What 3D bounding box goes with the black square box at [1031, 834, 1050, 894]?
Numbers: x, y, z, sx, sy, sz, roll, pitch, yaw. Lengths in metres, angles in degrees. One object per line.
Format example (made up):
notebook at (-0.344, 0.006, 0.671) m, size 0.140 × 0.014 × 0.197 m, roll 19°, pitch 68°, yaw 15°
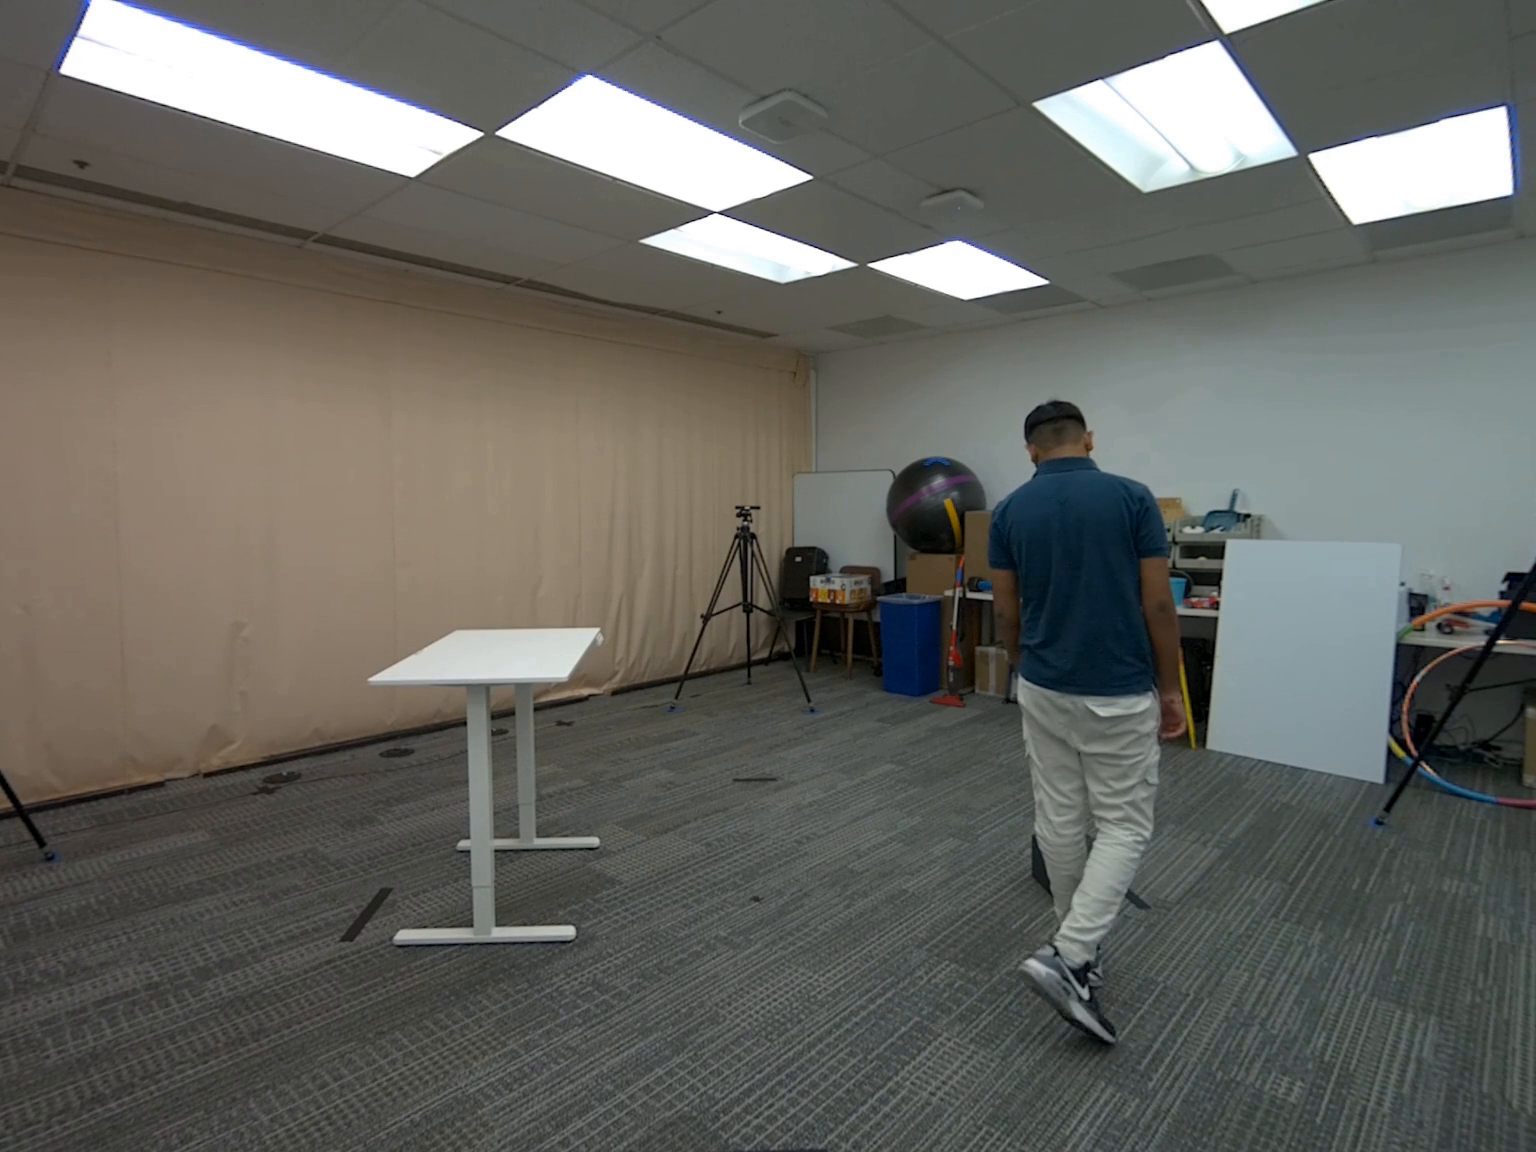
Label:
black square box at (1.121, 1.053, 3.058) m, size 0.216 × 0.155 × 0.229 m, roll -1°, pitch 4°, yaw -6°
